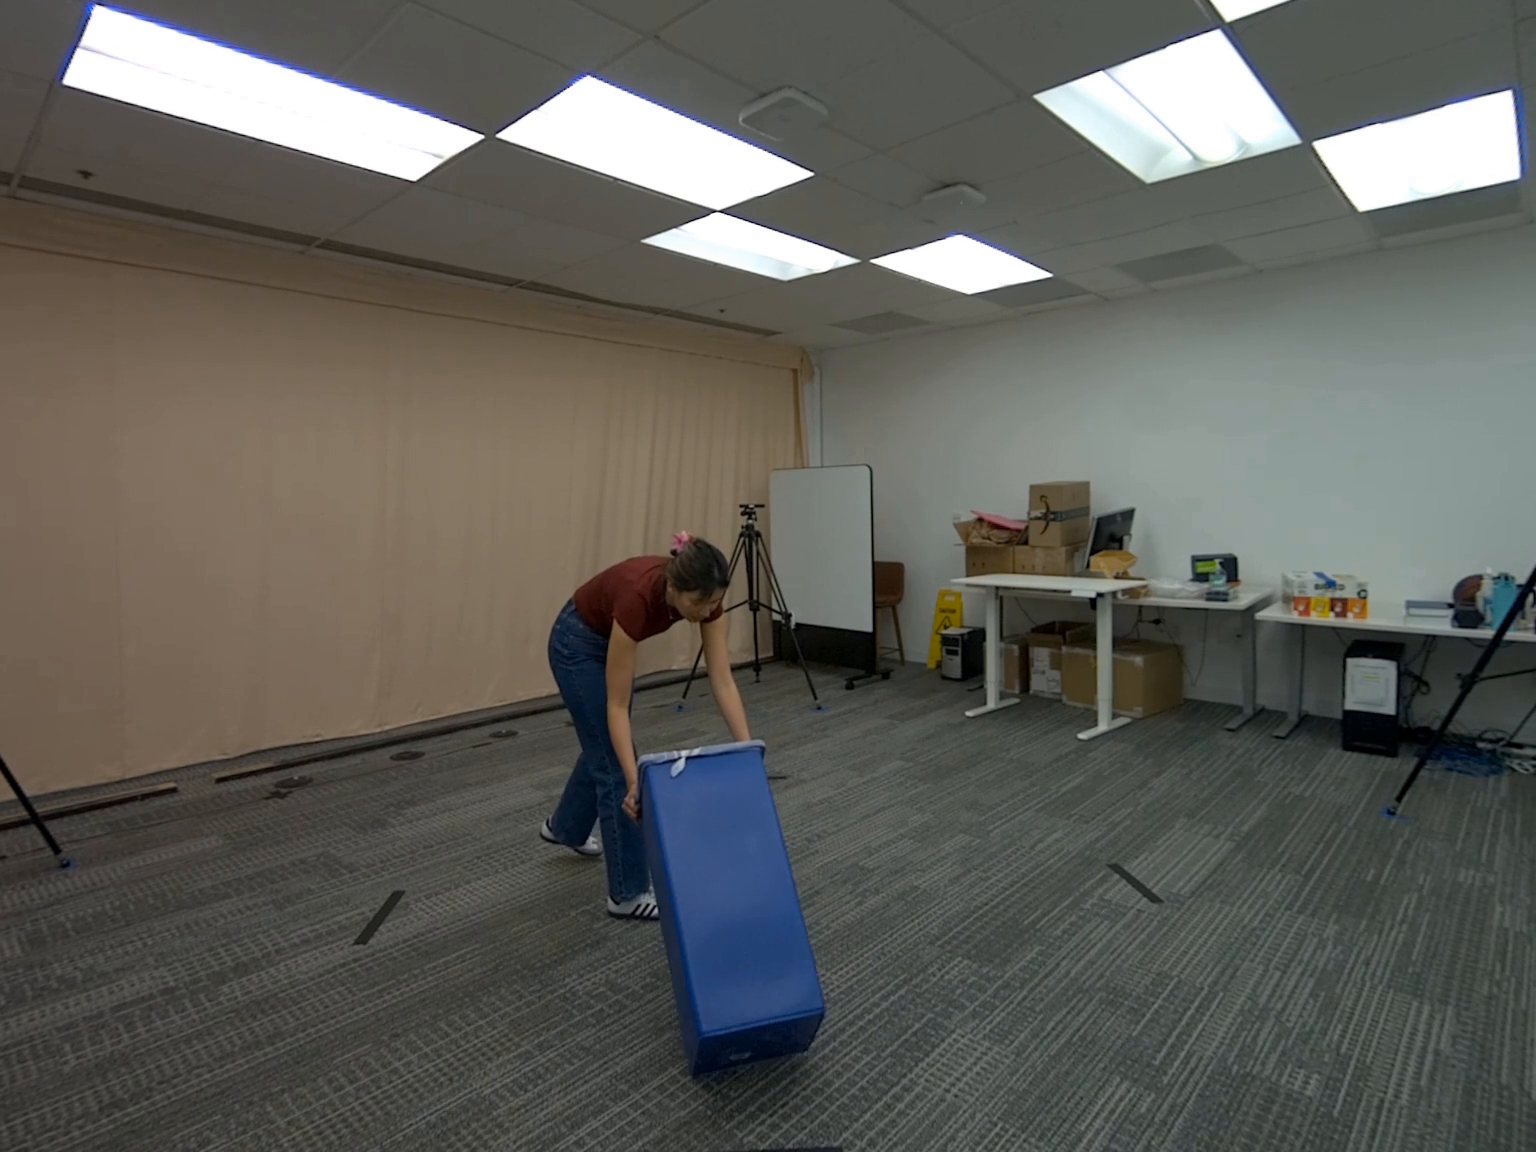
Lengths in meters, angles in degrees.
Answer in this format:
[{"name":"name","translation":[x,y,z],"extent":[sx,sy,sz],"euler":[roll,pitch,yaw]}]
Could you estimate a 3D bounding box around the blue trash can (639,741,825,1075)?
[{"name":"blue trash can","translation":[-0.104,0.861,2.248],"extent":[0.373,0.369,0.733],"euler":[-5,46,-14]}]
